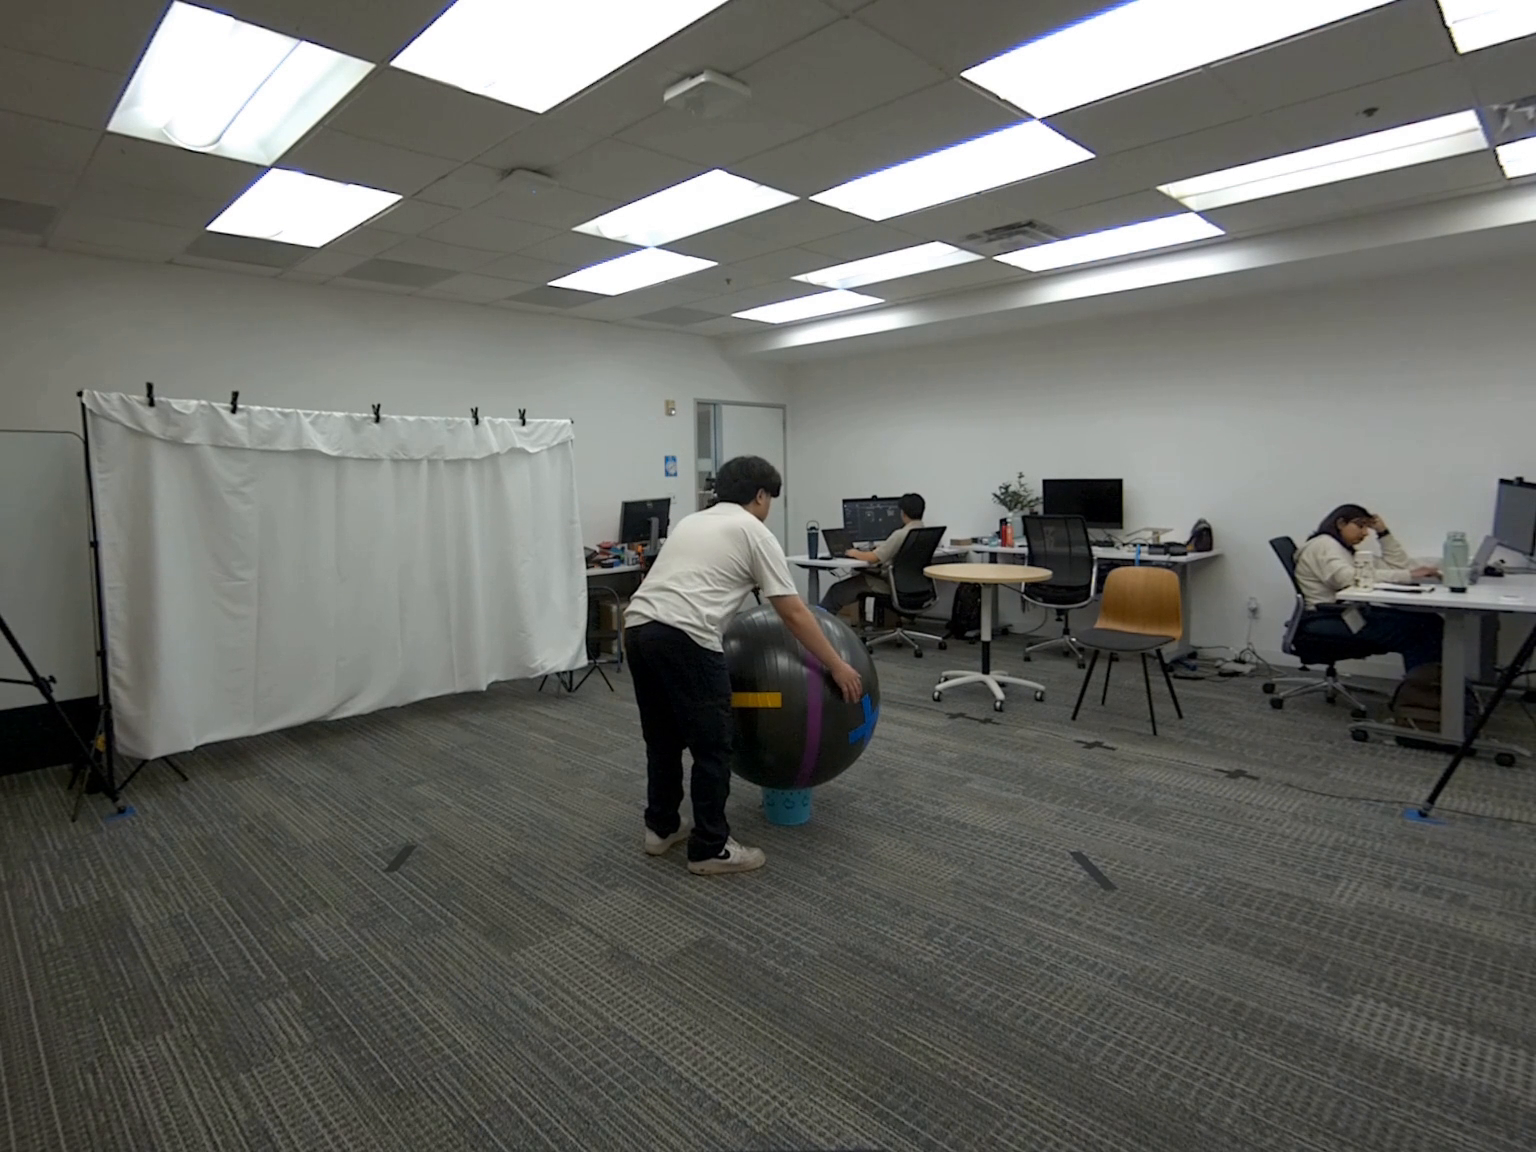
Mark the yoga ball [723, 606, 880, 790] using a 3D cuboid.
[{"bbox_3d":[0.072,0.487,3.502,0.757,0.755,0.762,-1,5,-2],"label":"yoga ball"}]
